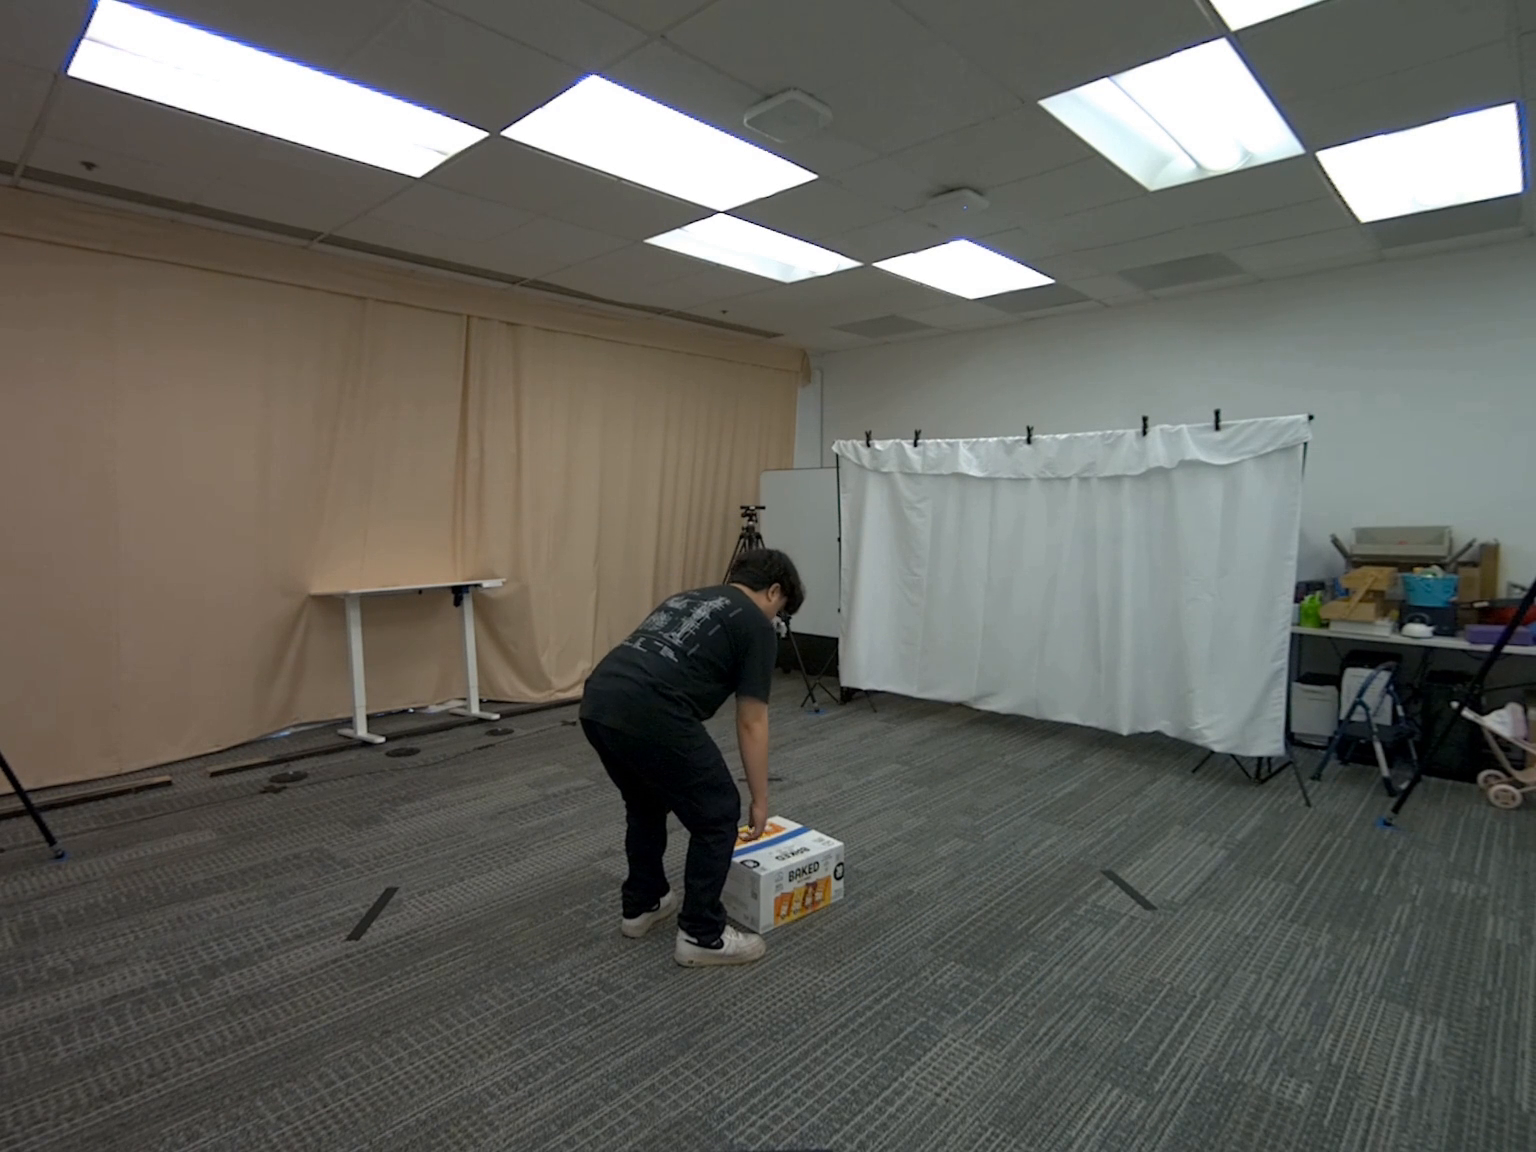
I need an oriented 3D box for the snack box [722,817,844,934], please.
[{"bbox_3d":[0.009,1.044,2.973,0.393,0.205,0.352,-4,6,-41],"label":"snack box"}]
